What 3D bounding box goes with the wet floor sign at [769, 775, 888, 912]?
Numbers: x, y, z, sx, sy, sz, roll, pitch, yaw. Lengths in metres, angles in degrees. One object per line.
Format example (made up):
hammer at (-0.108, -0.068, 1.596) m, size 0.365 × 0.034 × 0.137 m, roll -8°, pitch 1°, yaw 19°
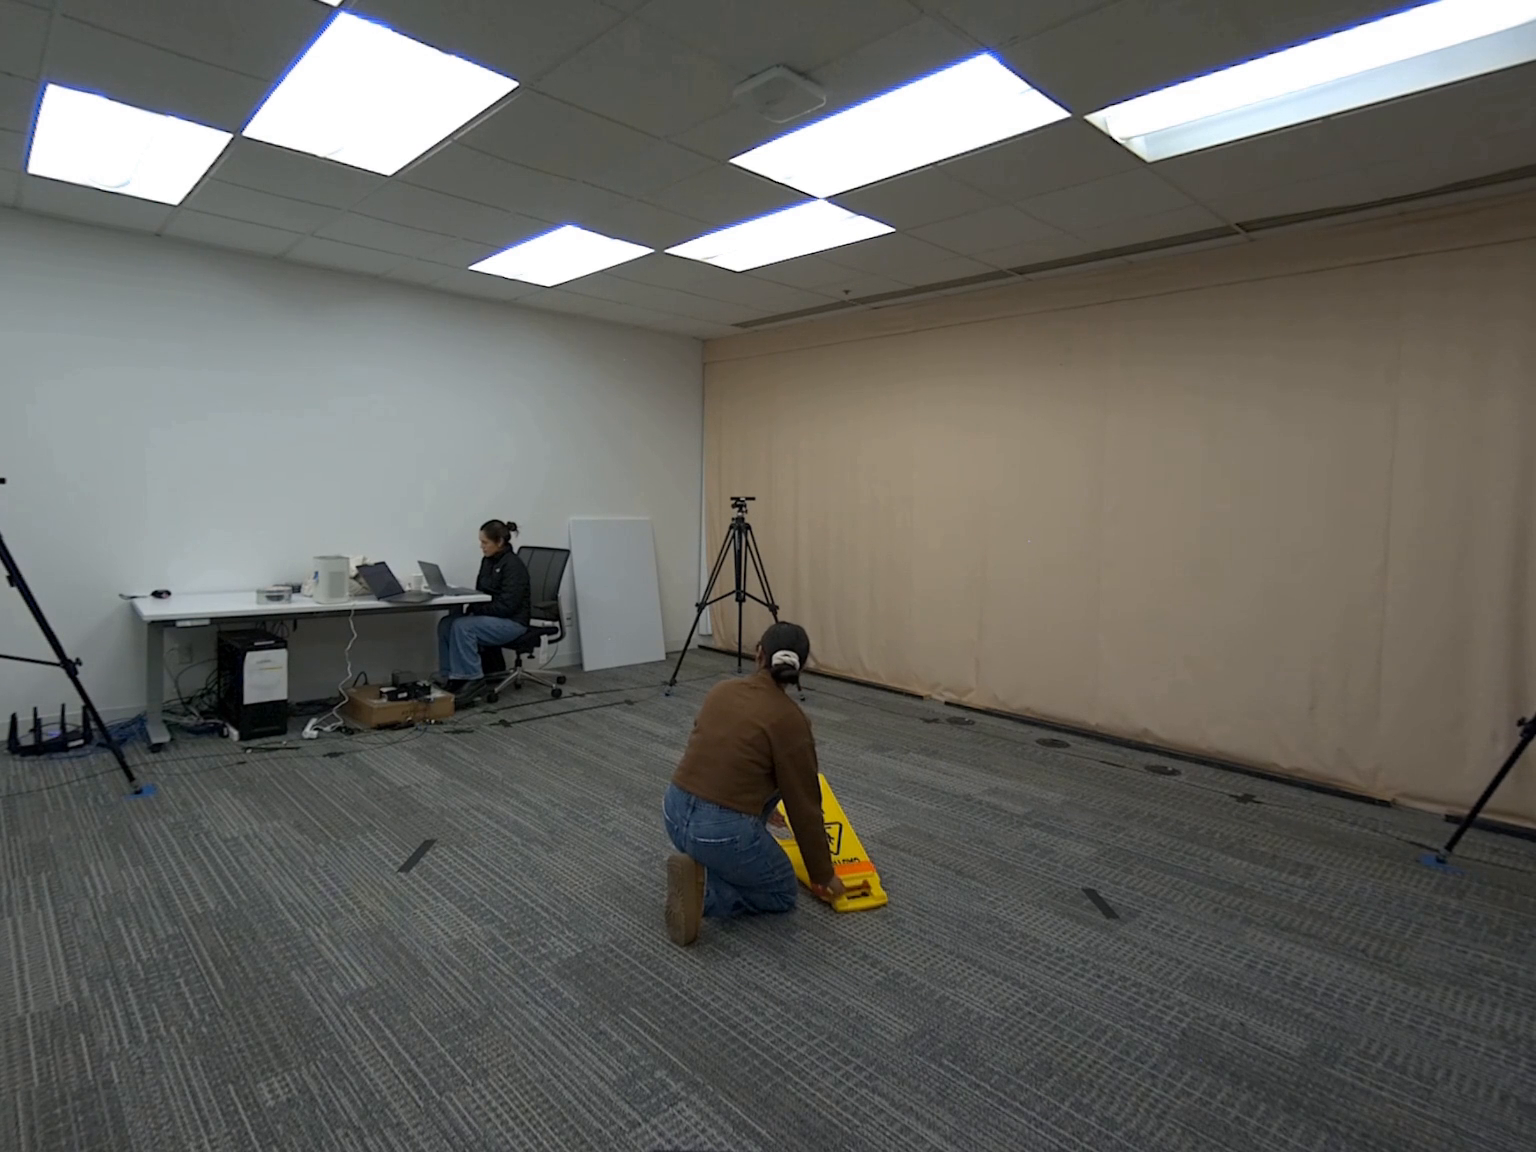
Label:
wet floor sign at (0.200, 1.033, 3.155) m, size 0.278 × 0.287 × 0.663 m, roll 0°, pitch 17°, yaw -22°
